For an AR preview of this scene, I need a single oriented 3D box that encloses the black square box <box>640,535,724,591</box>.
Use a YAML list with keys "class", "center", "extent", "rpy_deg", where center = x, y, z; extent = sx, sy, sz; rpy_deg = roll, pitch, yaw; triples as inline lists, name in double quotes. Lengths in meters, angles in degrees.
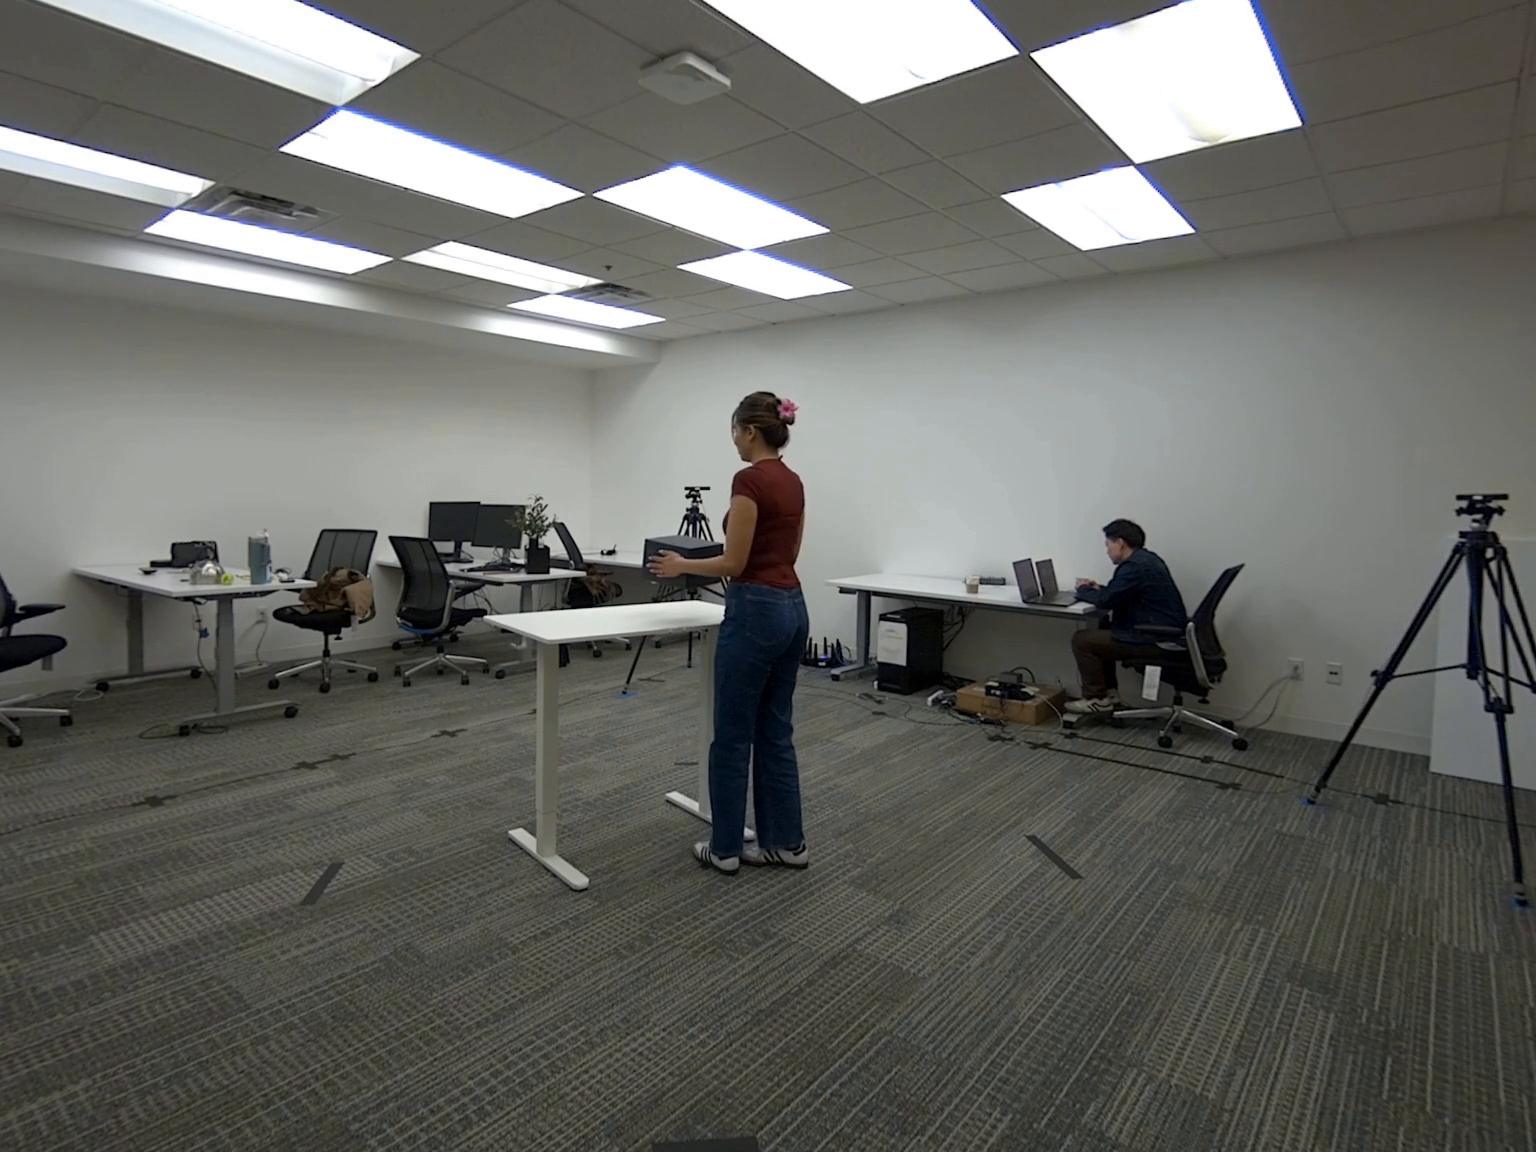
- class: "black square box"
  center: [-0.333, -0.057, 3.247]
  extent: [0.224, 0.155, 0.222]
  rpy_deg: [12, 12, 31]
